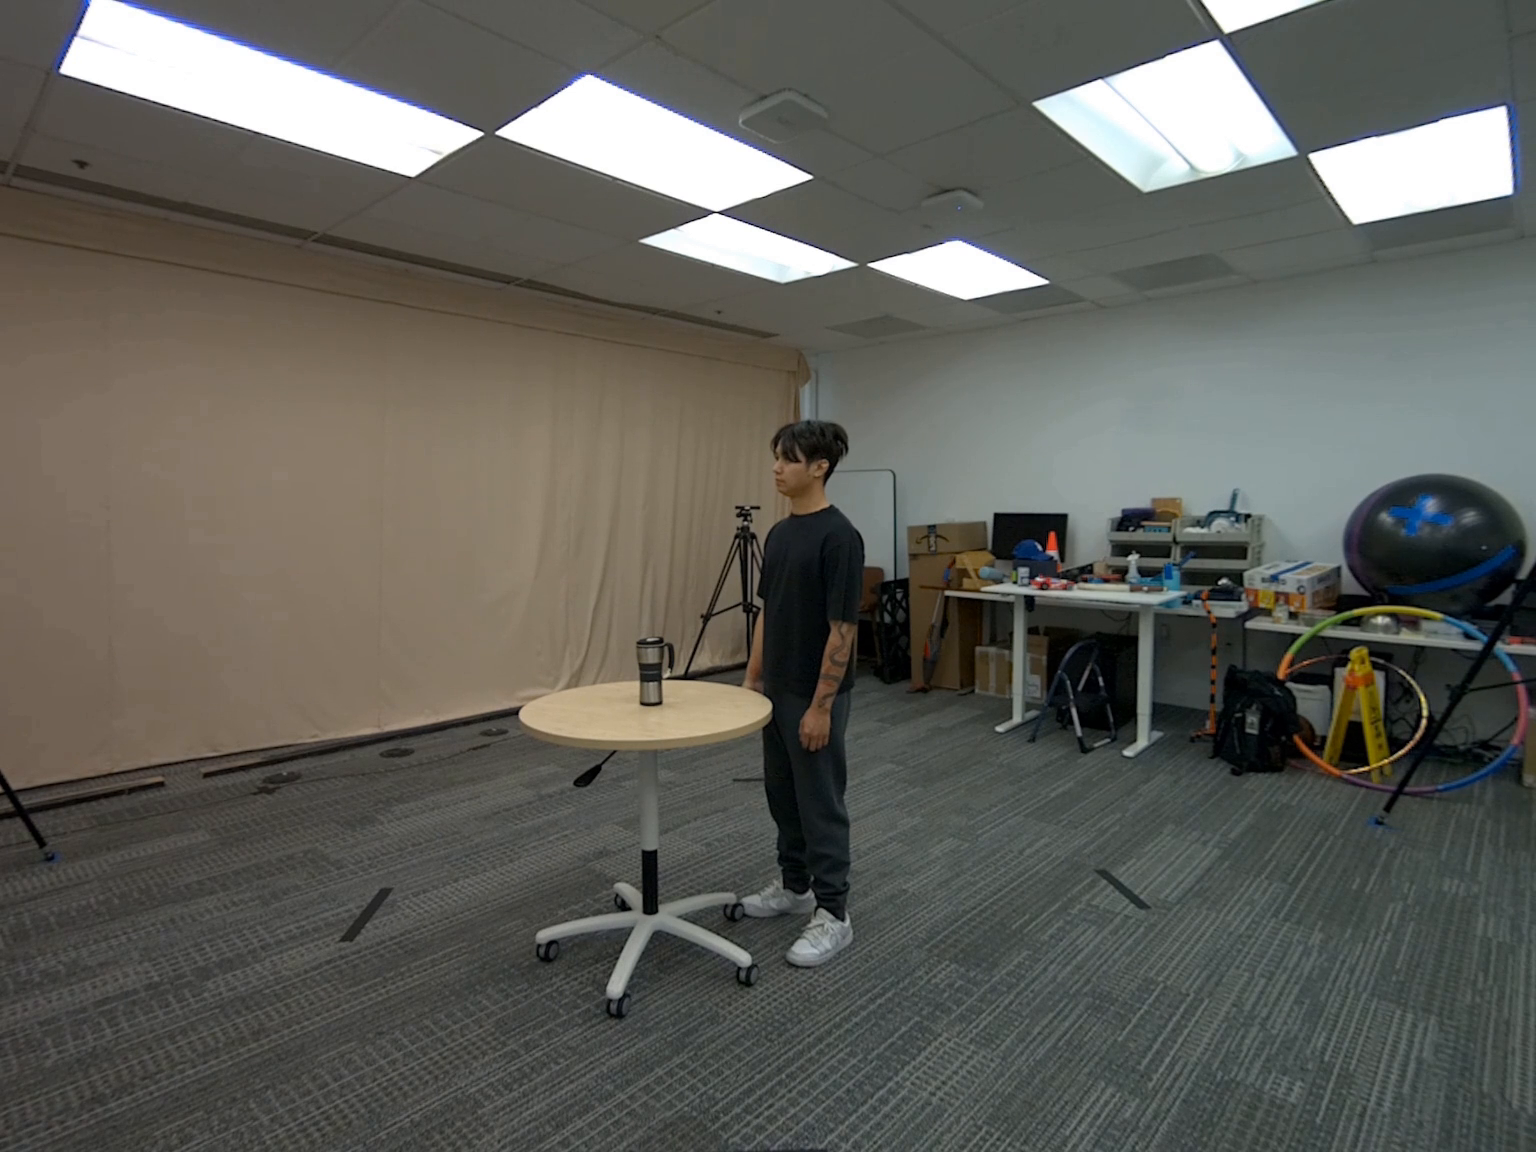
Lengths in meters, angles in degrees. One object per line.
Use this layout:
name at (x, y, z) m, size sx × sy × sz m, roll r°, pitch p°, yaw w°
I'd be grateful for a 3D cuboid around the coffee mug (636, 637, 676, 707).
coffee mug at (-0.343, 0.297, 2.592) m, size 0.126 × 0.203 × 0.085 m, roll -3°, pitch -6°, yaw 38°
